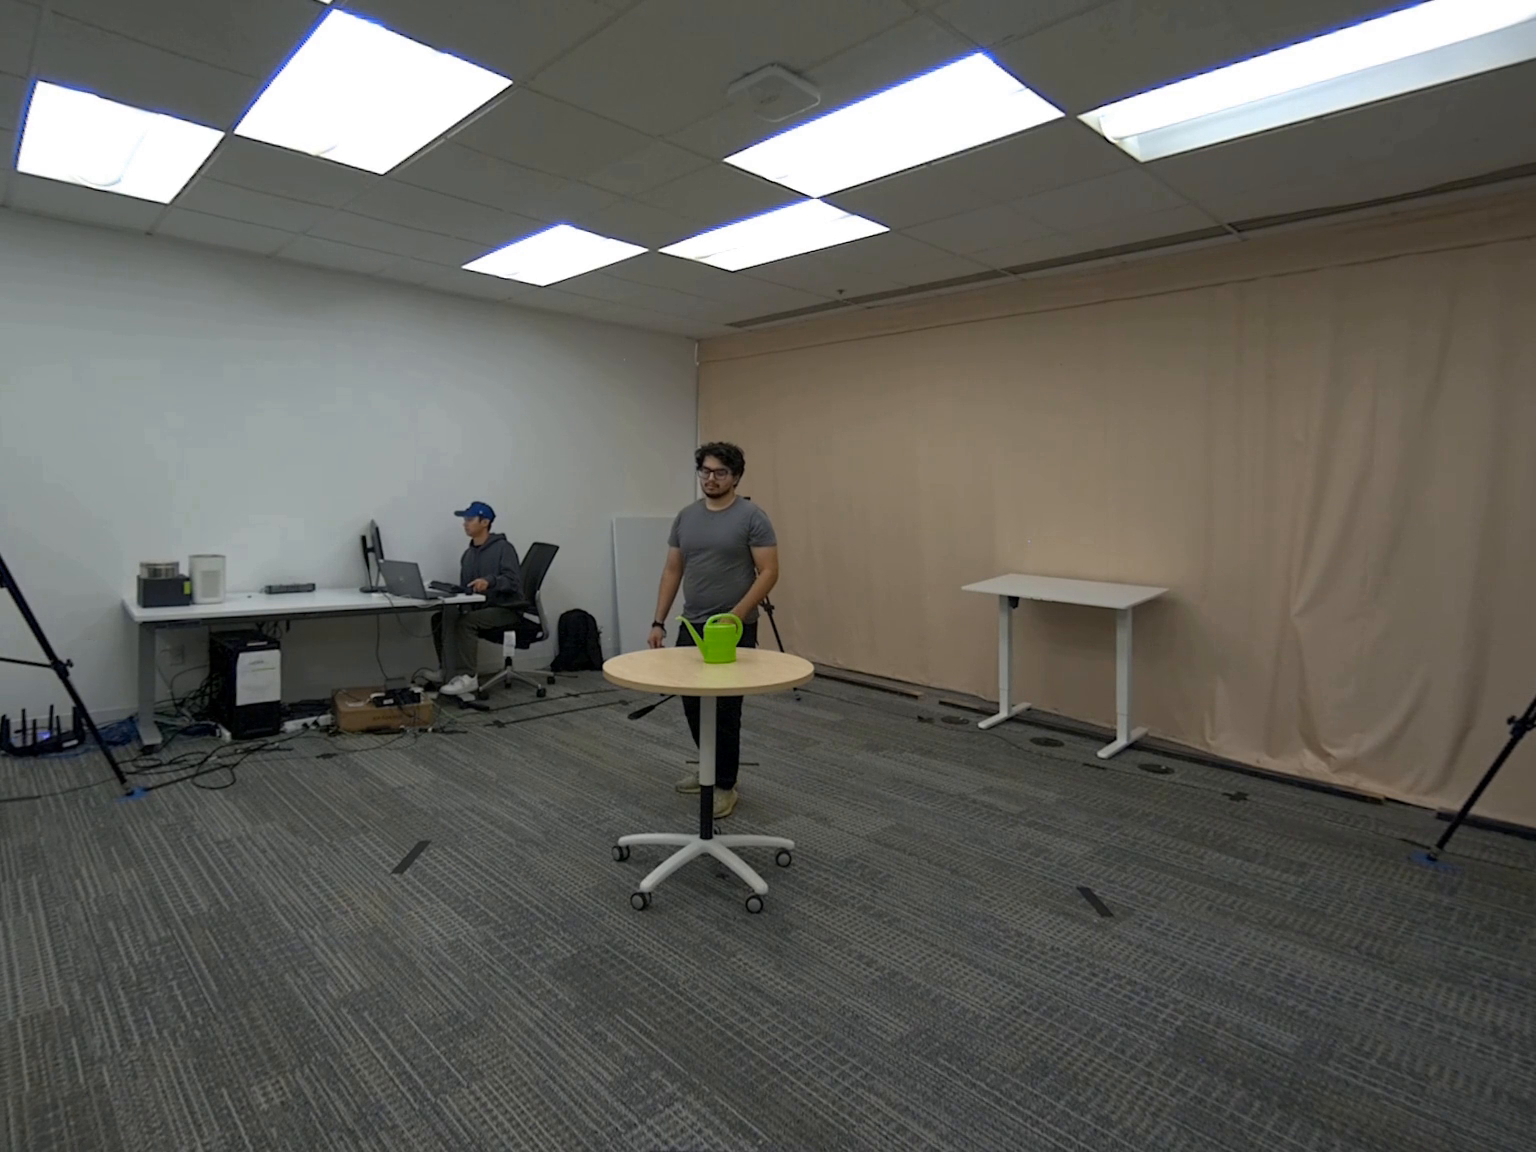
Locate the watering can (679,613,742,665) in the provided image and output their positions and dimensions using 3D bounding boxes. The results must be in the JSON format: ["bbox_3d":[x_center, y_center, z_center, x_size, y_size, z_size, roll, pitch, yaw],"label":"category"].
[{"bbox_3d":[-0.232,0.232,3.124,0.274,0.176,0.100,0,4,-19],"label":"watering can"}]
